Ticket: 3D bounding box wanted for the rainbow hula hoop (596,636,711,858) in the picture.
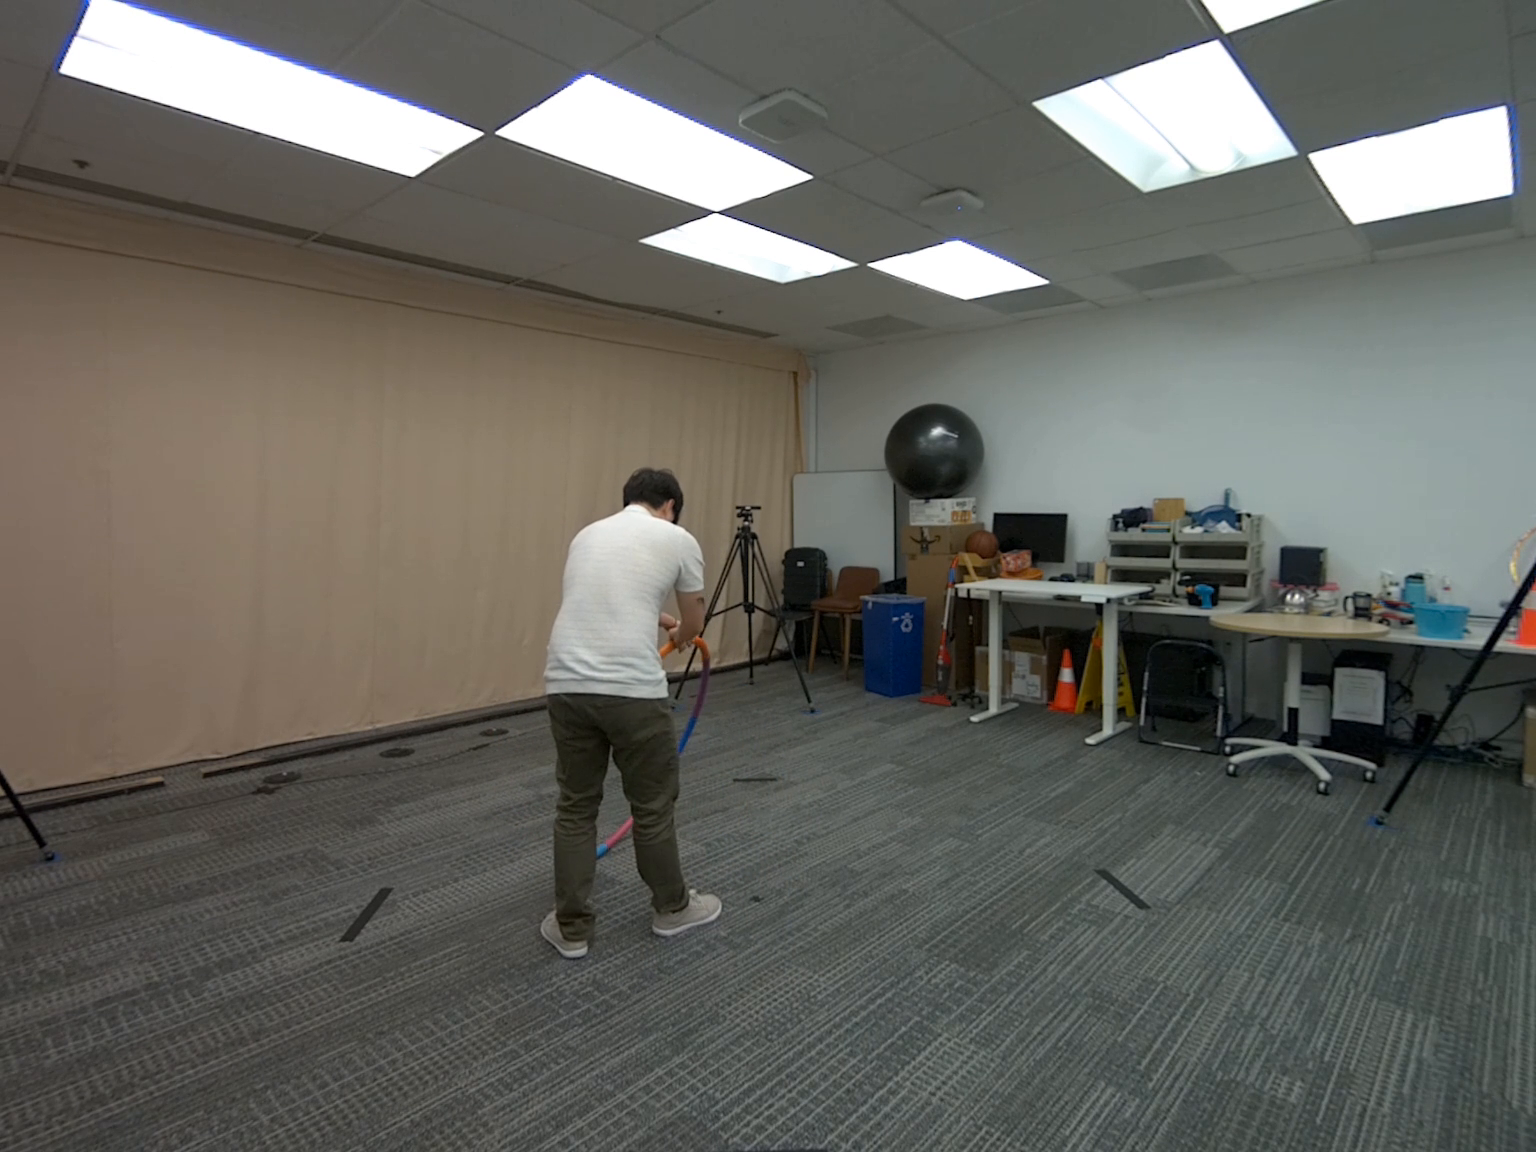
[{"bbox_3d":[-0.497,0.671,3.306,0.036,0.977,0.961,27,12,14],"label":"rainbow hula hoop"}]
